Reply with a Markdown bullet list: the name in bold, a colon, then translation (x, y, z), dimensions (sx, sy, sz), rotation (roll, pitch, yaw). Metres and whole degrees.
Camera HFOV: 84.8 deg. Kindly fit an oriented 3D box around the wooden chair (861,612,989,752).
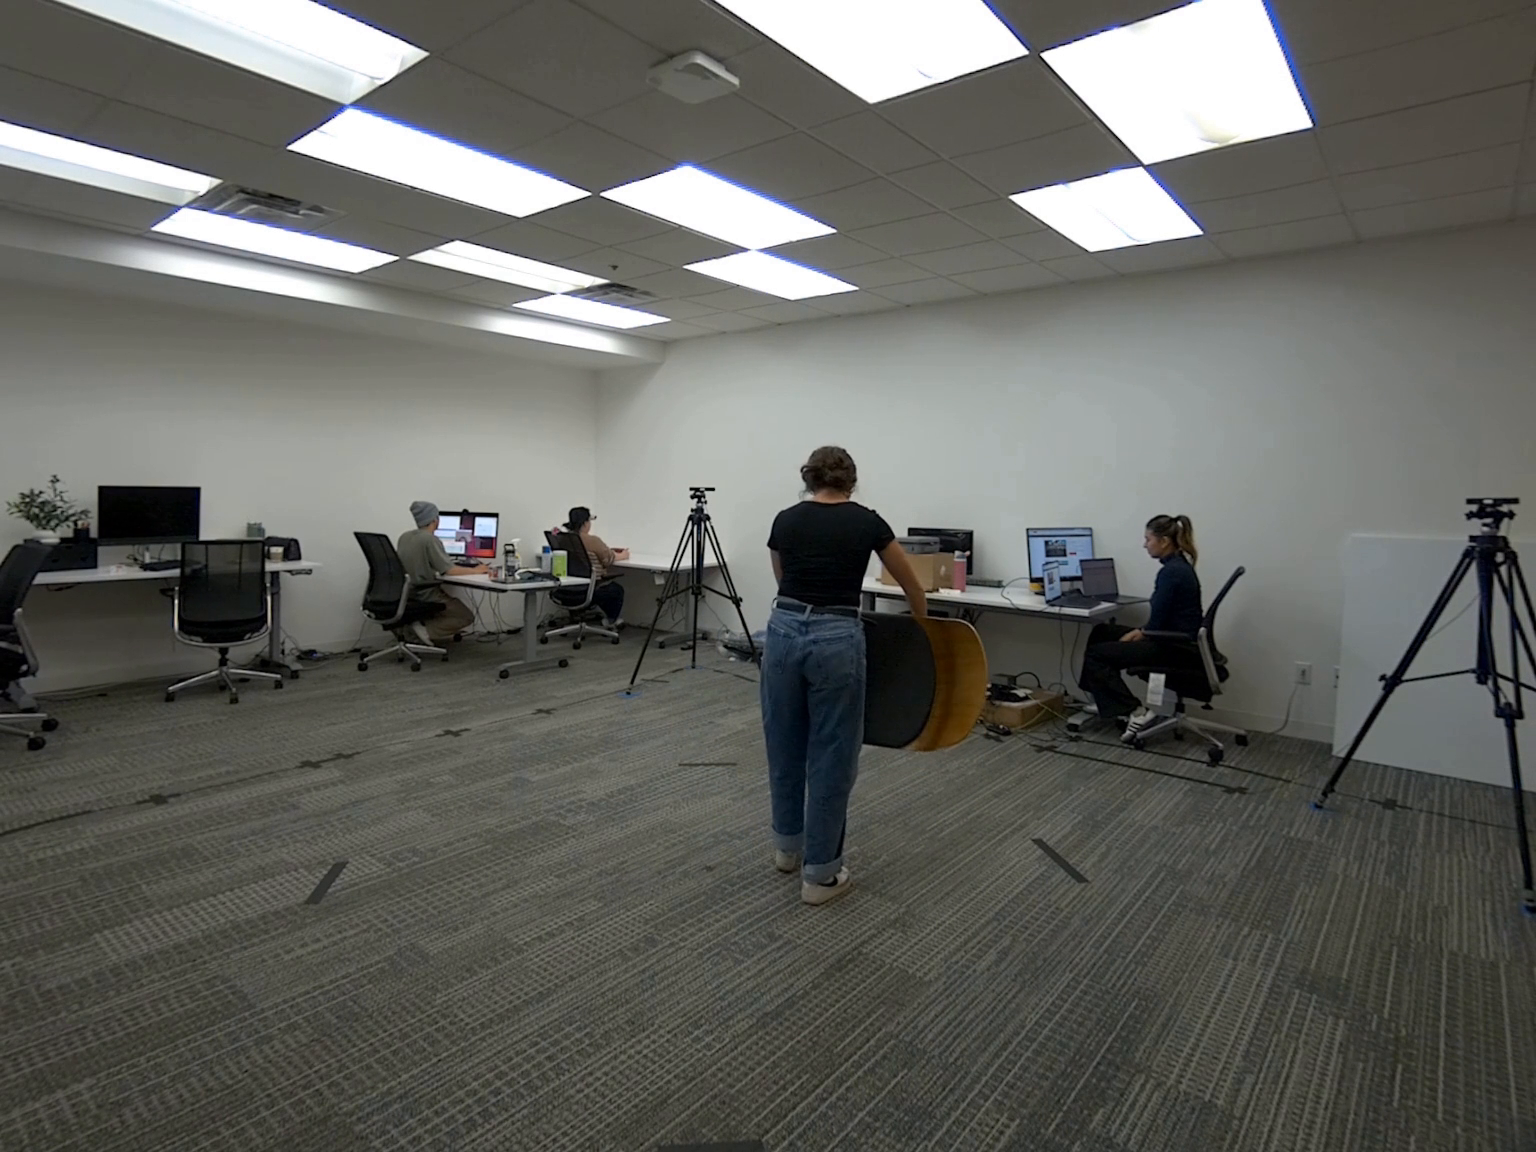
- **wooden chair**: translation (0.403, 0.381, 3.061), dimensions (0.524, 0.482, 0.869), rotation (6, -8, 0)
